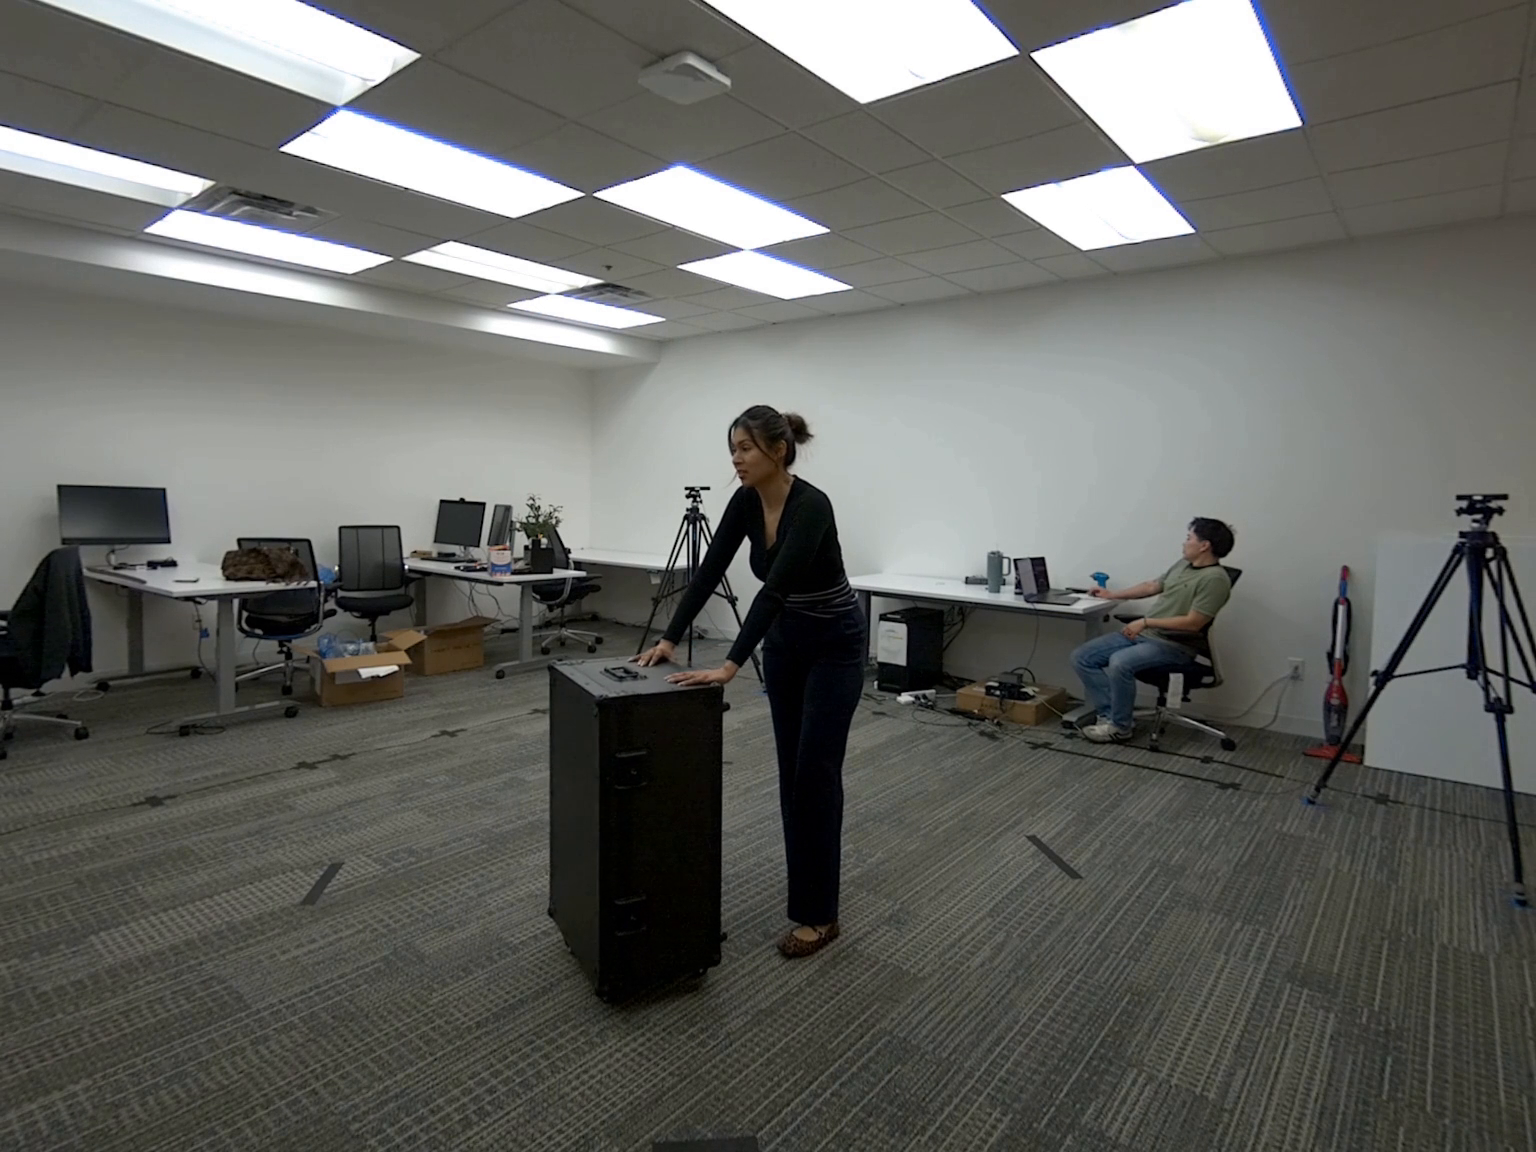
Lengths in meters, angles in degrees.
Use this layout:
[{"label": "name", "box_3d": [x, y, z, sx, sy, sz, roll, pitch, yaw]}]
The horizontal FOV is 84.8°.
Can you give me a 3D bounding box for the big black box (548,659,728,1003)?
[{"label": "big black box", "box_3d": [-0.402, 0.702, 2.469, 0.386, 0.860, 0.536, -1, 3, -29]}]
